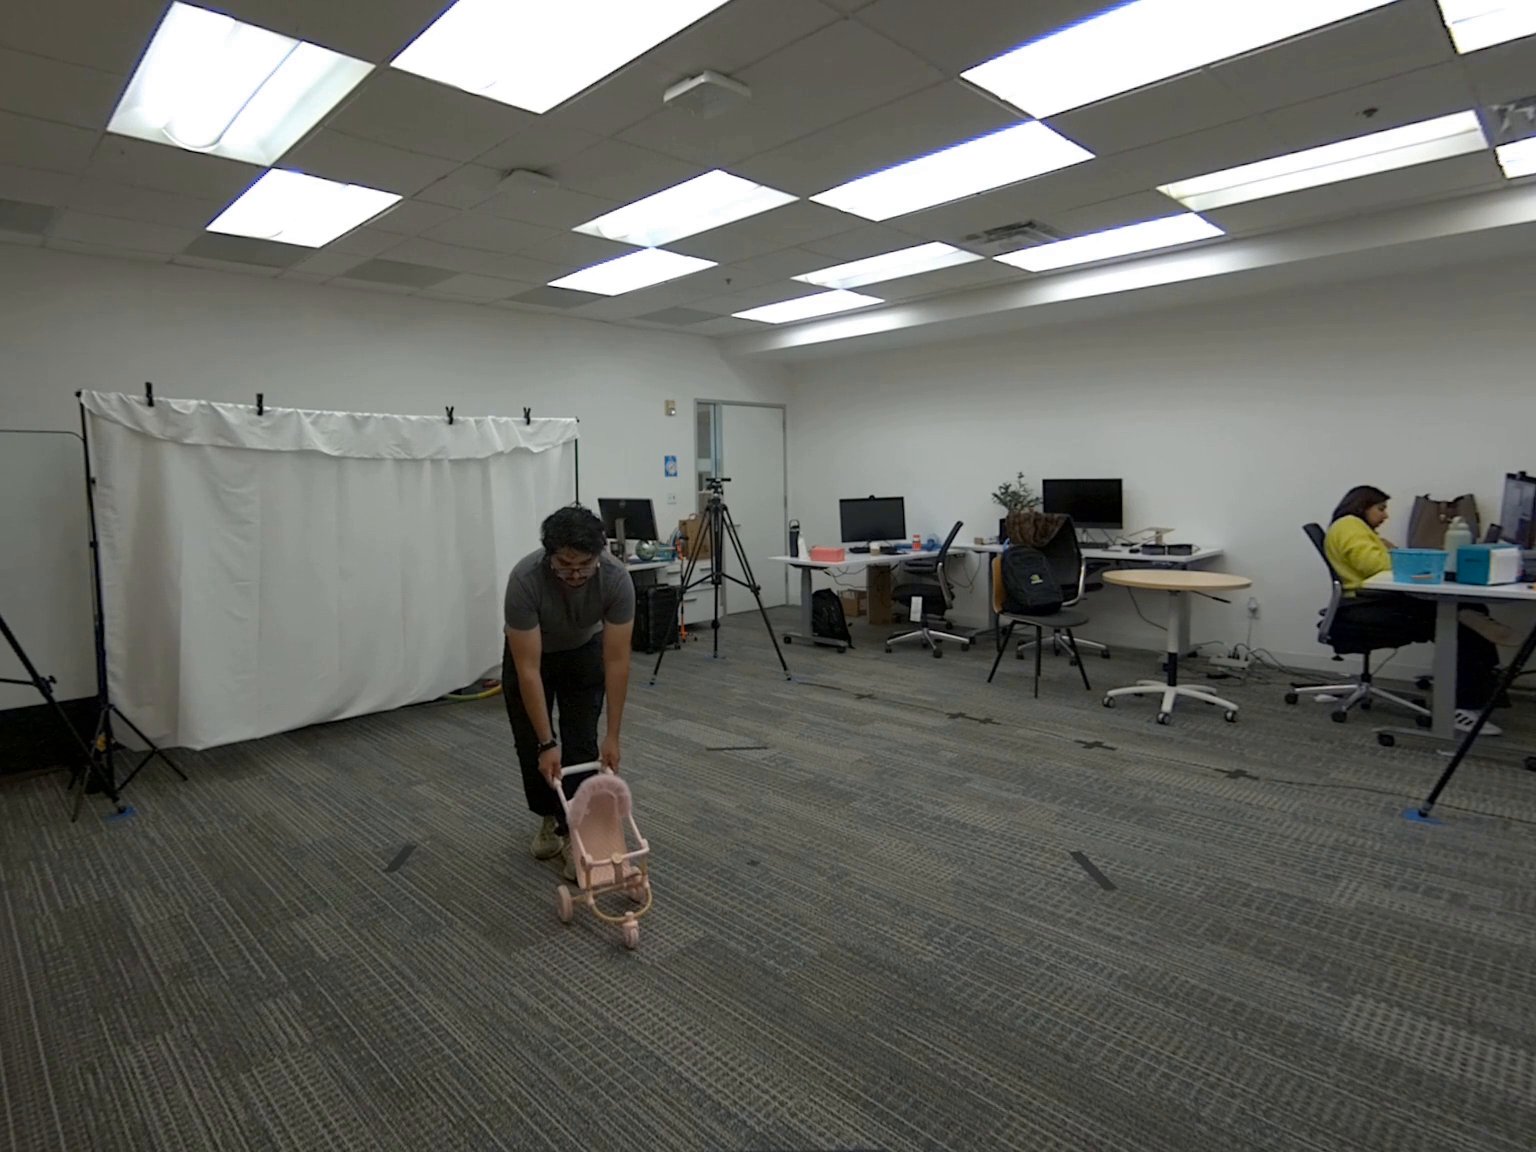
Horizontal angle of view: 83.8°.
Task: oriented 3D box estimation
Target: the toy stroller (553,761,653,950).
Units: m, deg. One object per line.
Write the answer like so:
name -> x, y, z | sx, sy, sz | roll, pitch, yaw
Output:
toy stroller -> -0.514, 0.869, 2.717 | 0.275, 0.540, 0.345 | -4, -10, -27
